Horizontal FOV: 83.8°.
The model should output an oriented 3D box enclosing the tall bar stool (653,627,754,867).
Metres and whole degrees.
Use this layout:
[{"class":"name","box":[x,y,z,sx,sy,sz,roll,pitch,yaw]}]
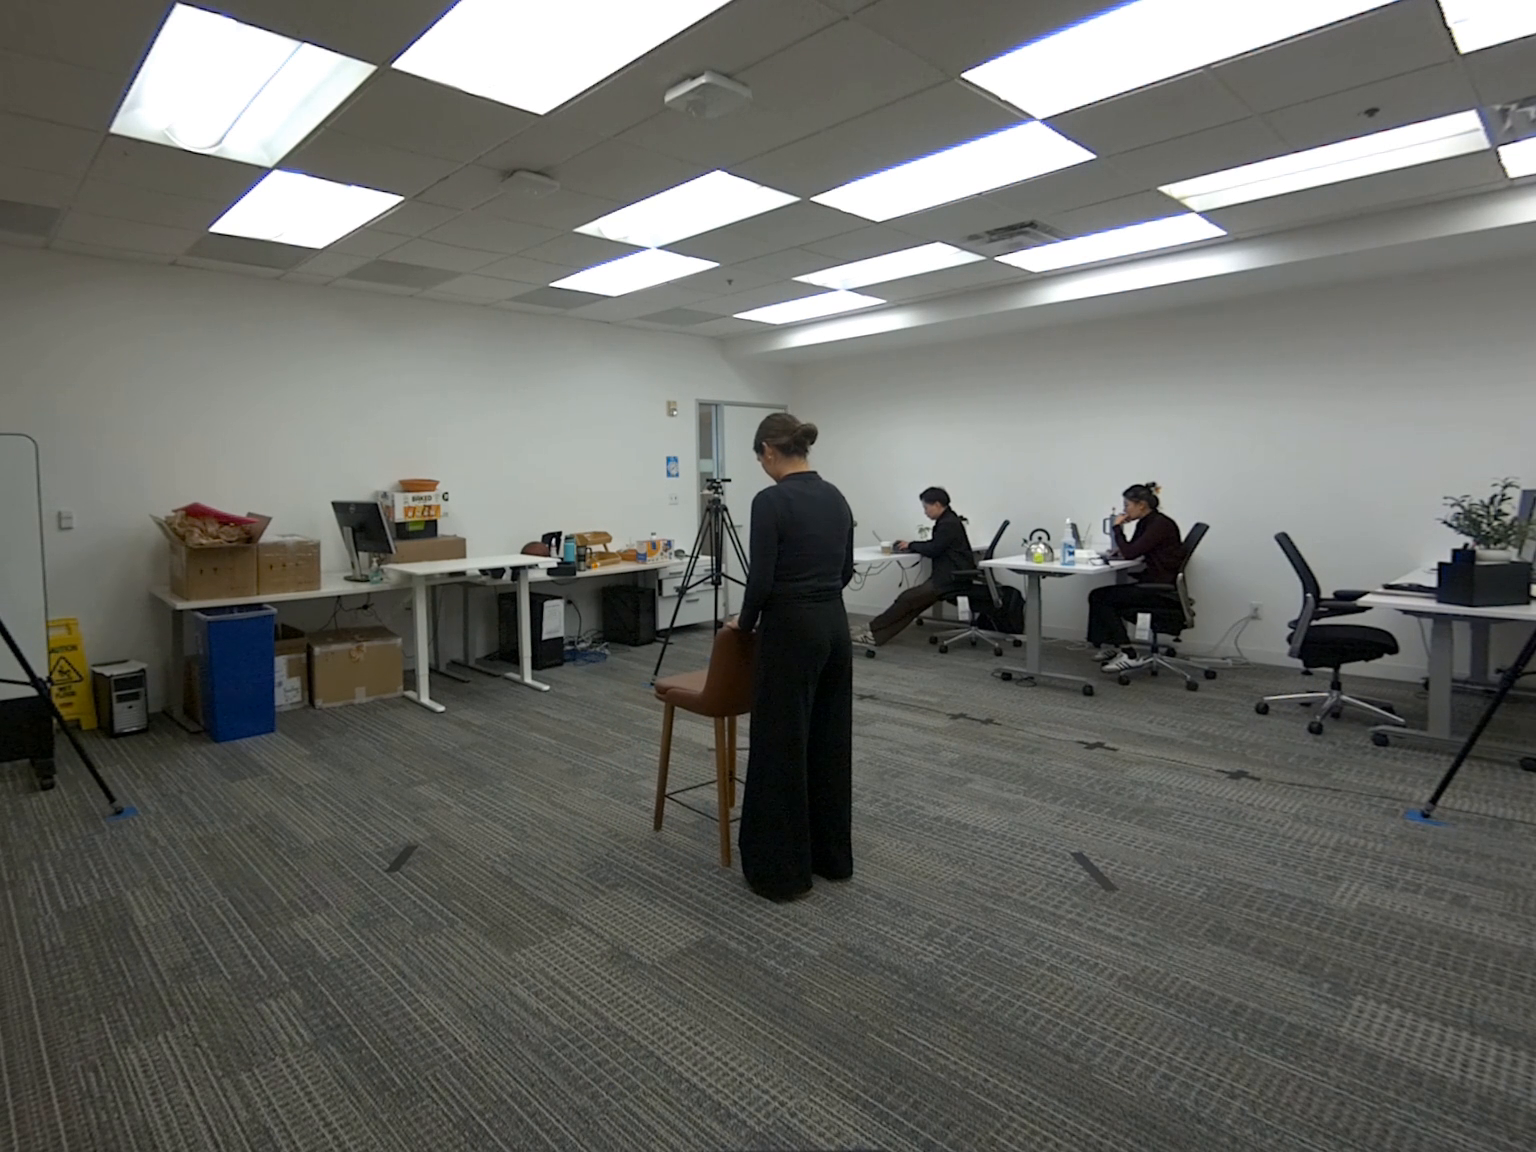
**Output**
[{"class":"tall bar stool","box":[-0.157,0.582,3.331,0.444,0.885,0.482,-4,8,-39]}]
